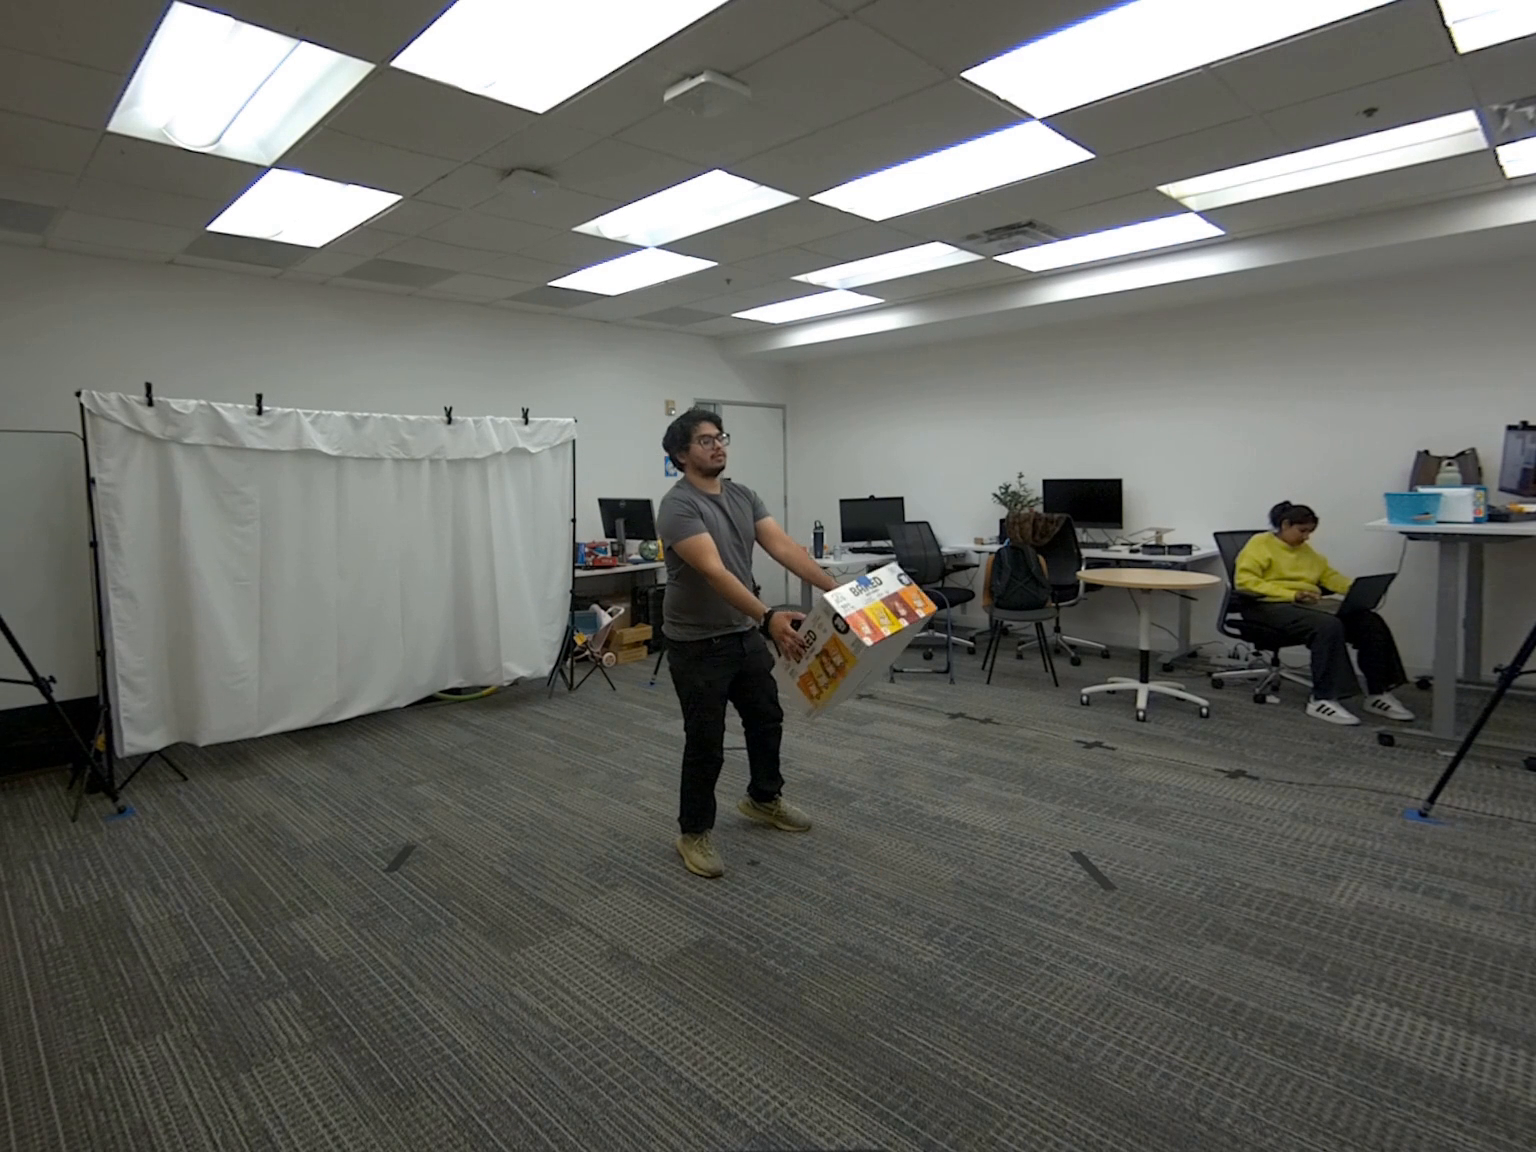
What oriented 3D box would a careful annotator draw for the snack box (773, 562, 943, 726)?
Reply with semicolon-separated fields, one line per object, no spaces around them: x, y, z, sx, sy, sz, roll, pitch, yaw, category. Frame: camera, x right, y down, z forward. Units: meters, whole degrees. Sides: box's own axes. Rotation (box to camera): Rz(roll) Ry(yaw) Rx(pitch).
0.268;0.209;2.660;0.334;0.211;0.401;-21;-28;-40;snack box
